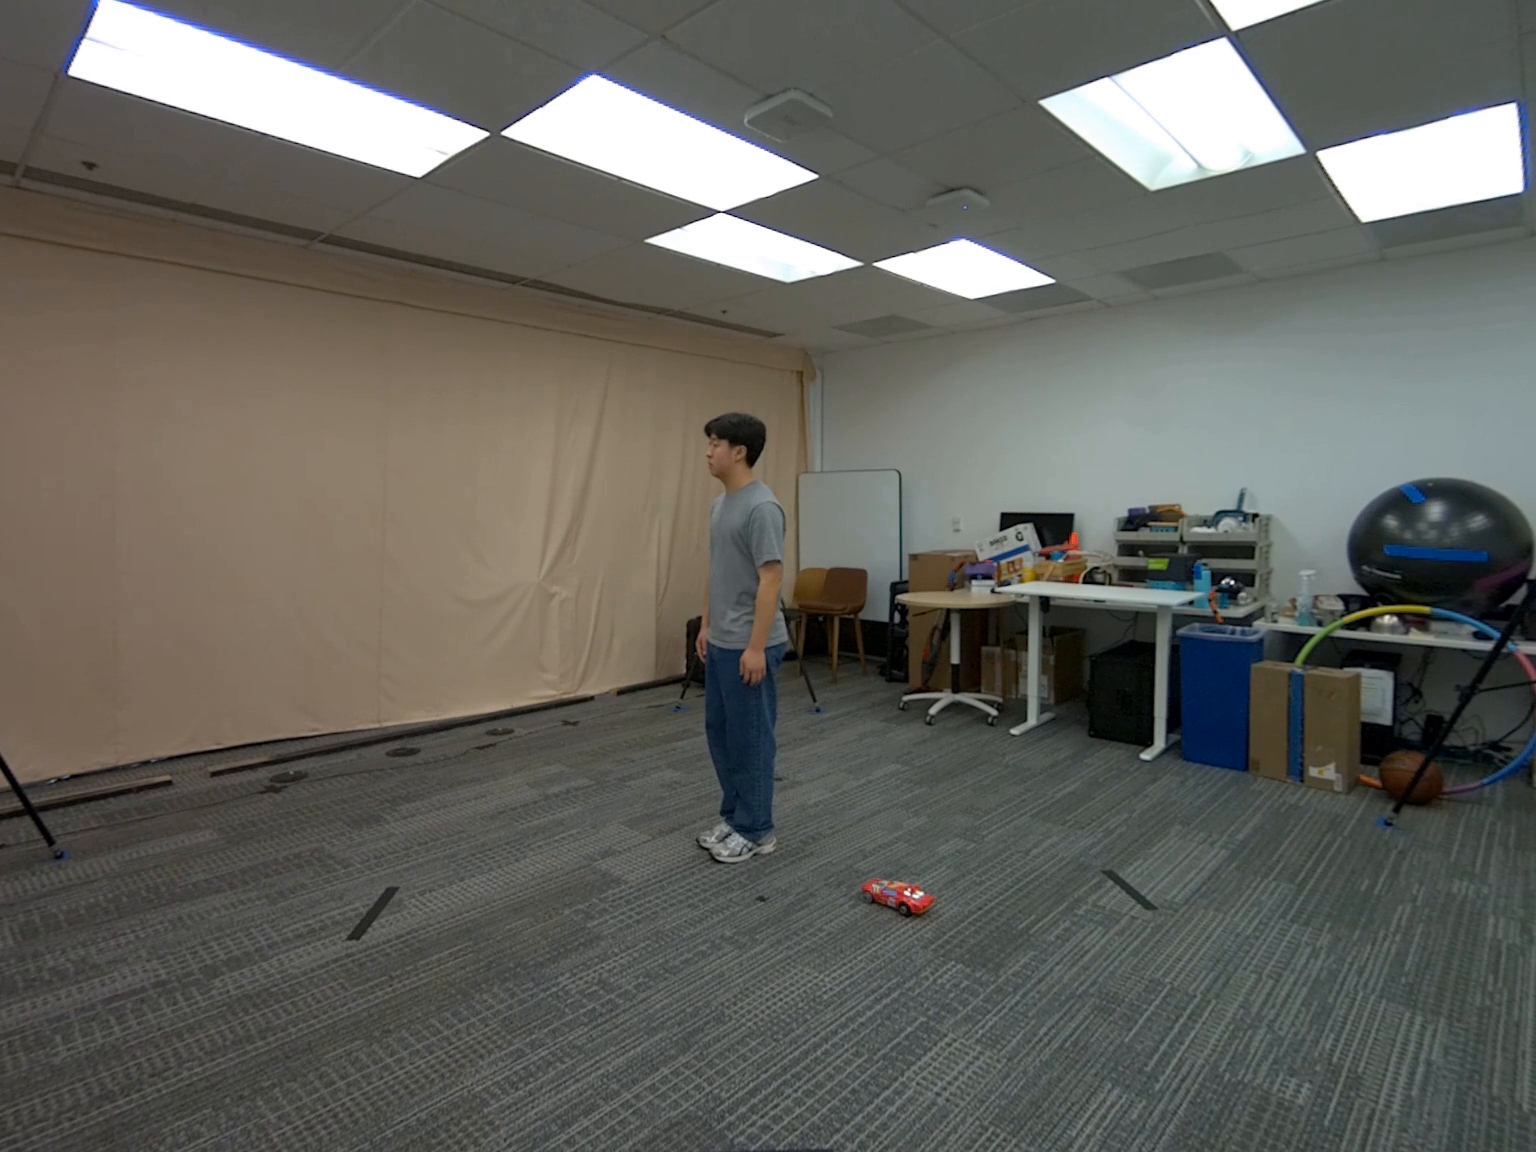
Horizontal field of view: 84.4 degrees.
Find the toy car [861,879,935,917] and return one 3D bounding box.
[{"bbox_3d":[0.461,1.113,2.916,0.262,0.083,0.126,-10,-3,42],"label":"toy car"}]
